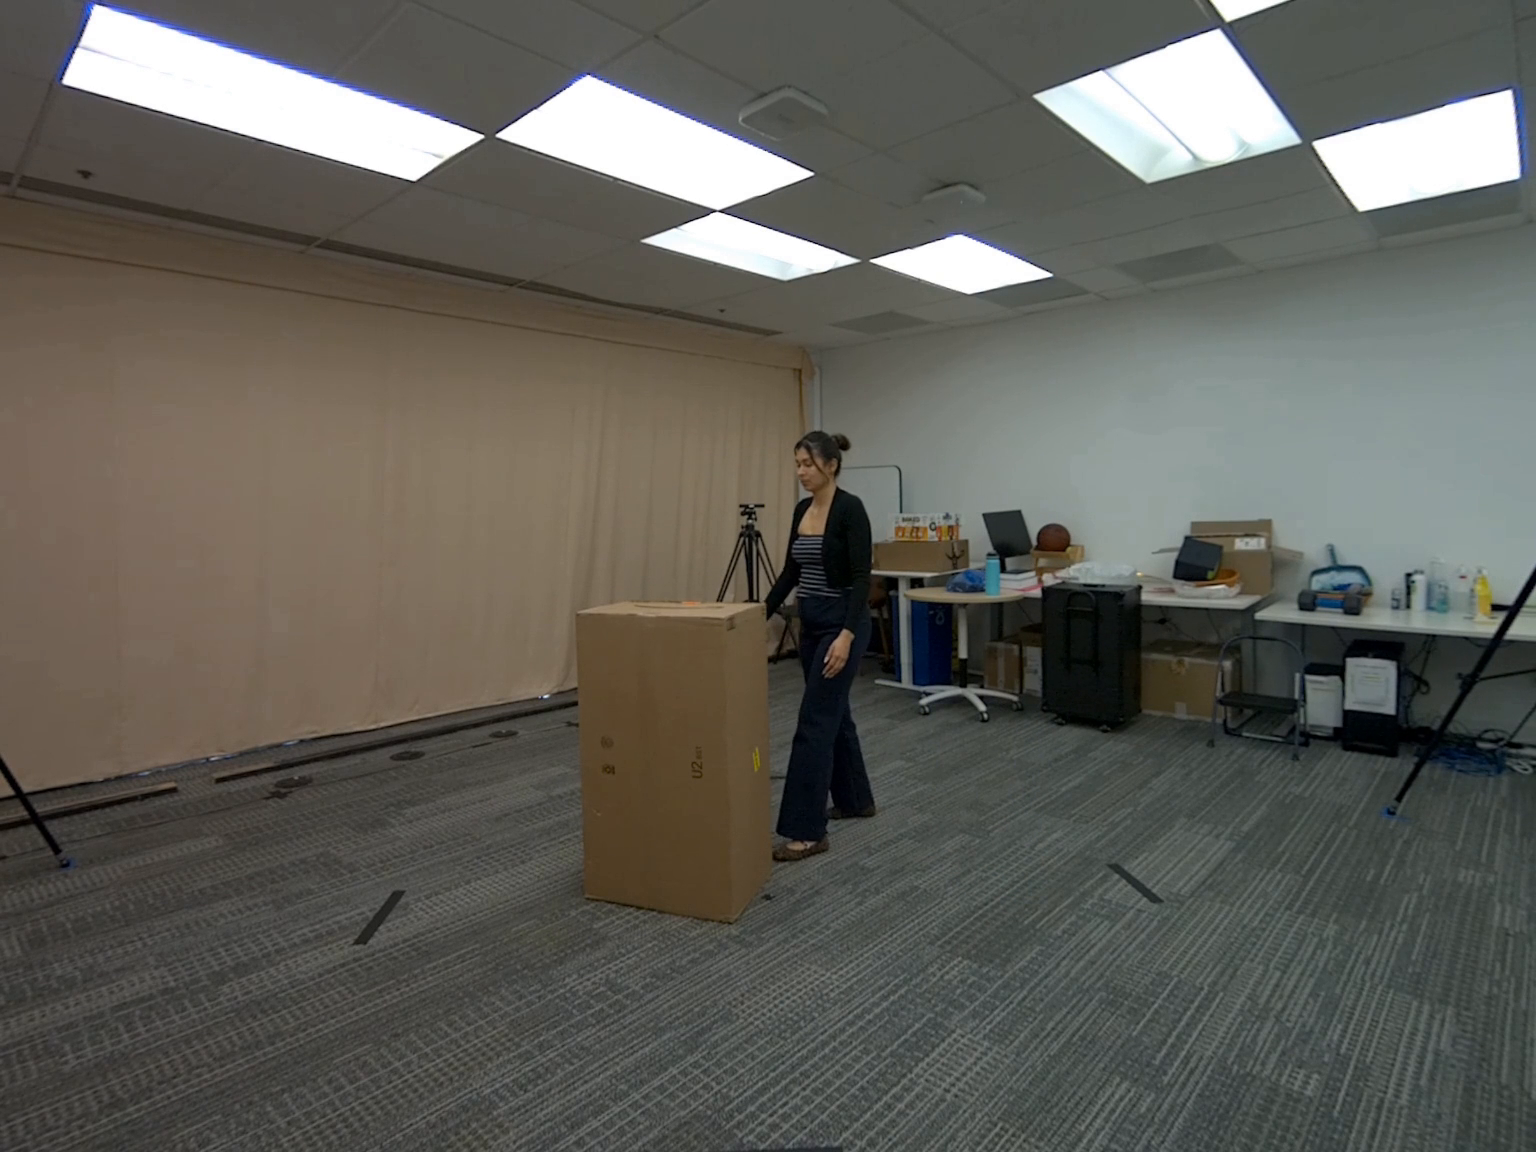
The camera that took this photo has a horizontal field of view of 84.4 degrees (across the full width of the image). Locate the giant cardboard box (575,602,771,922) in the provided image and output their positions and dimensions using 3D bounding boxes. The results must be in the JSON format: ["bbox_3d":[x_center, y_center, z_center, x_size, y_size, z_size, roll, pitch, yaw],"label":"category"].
[{"bbox_3d":[-0.330,0.628,3.074,0.591,1.024,0.417,0,2,22],"label":"giant cardboard box"}]
